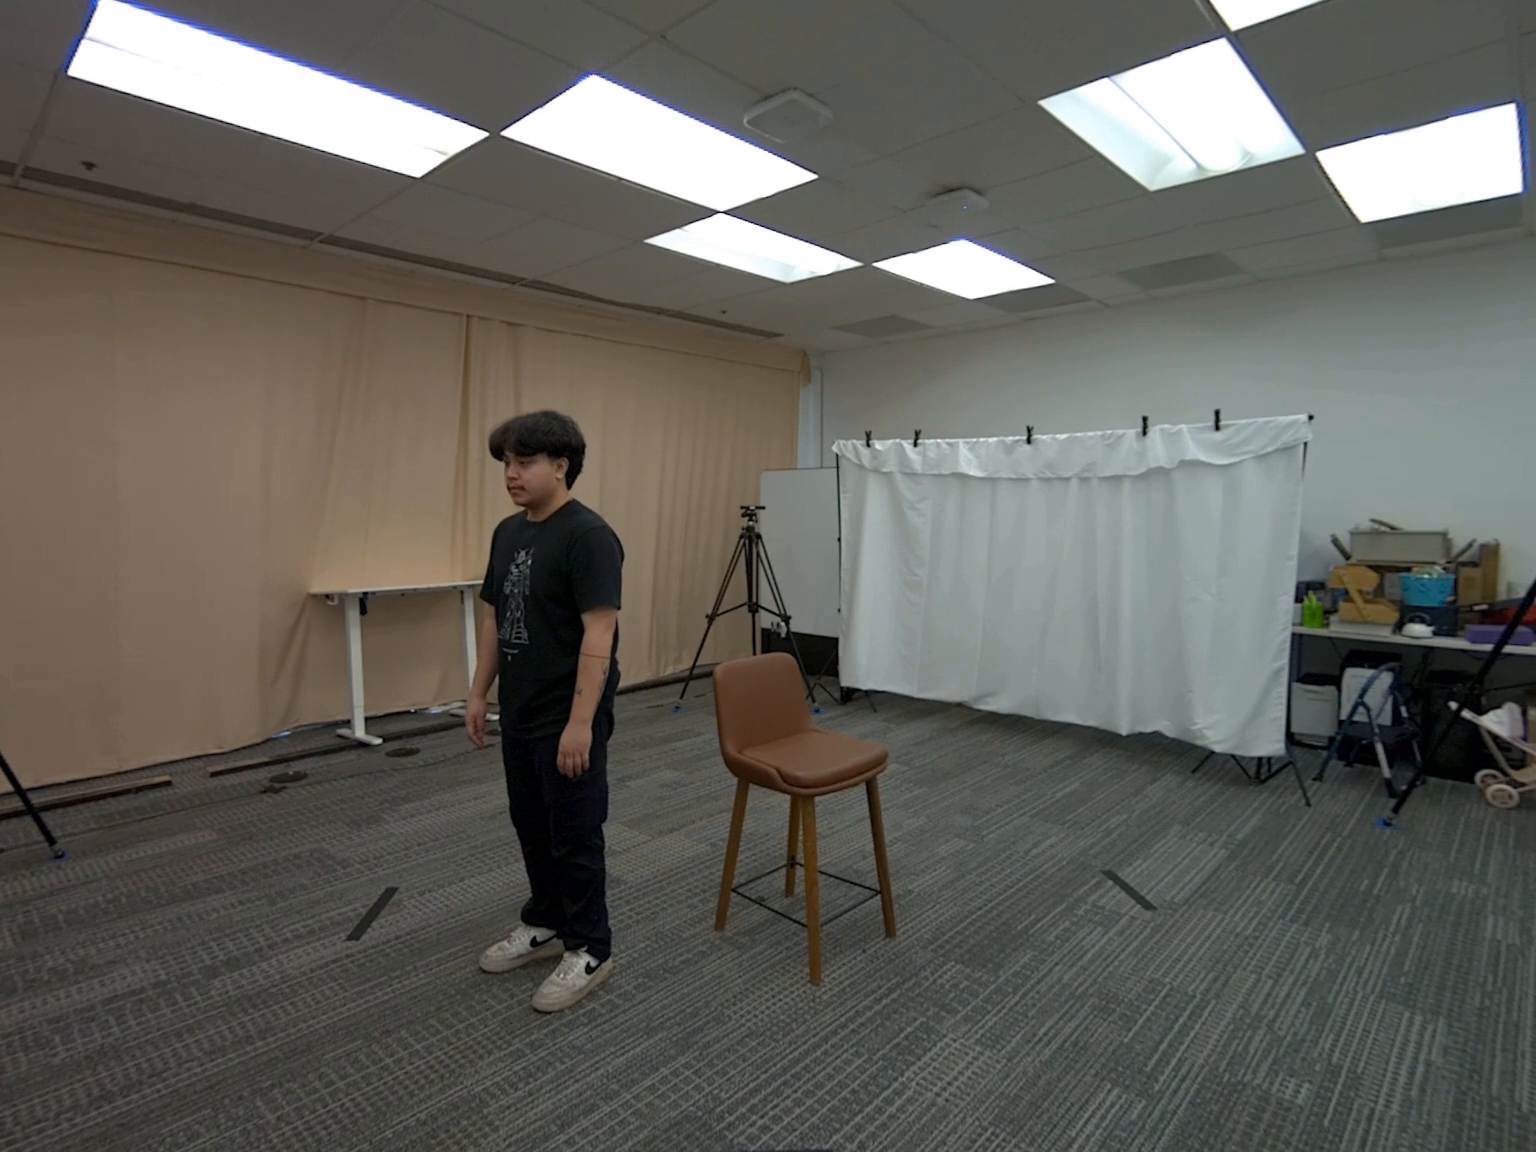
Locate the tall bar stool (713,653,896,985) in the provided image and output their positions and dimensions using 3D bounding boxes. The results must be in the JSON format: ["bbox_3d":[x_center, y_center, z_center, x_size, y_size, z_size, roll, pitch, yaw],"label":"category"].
[{"bbox_3d":[0.117,0.733,2.726,0.483,0.888,0.442,1,4,44],"label":"tall bar stool"}]
